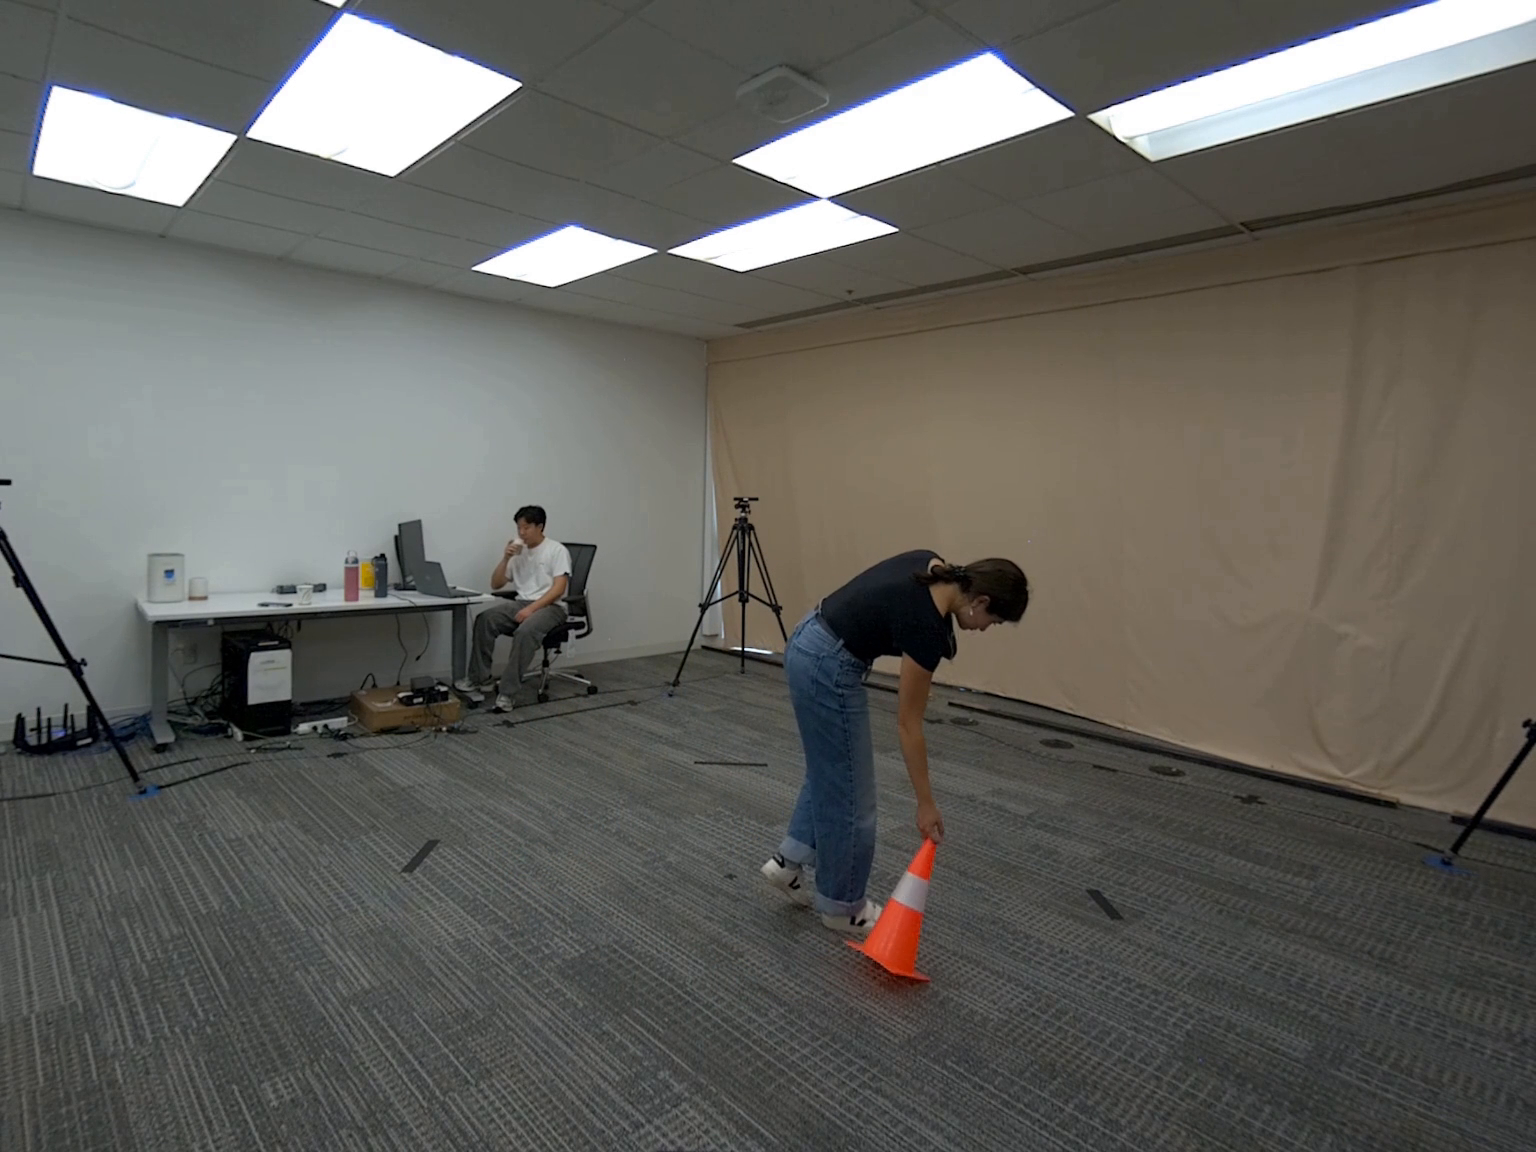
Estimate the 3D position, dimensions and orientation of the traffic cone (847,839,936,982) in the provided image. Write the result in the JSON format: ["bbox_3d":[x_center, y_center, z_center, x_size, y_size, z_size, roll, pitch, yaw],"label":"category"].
[{"bbox_3d":[0.408,0.969,2.507,0.199,0.385,0.208,31,-15,-30],"label":"traffic cone"}]
